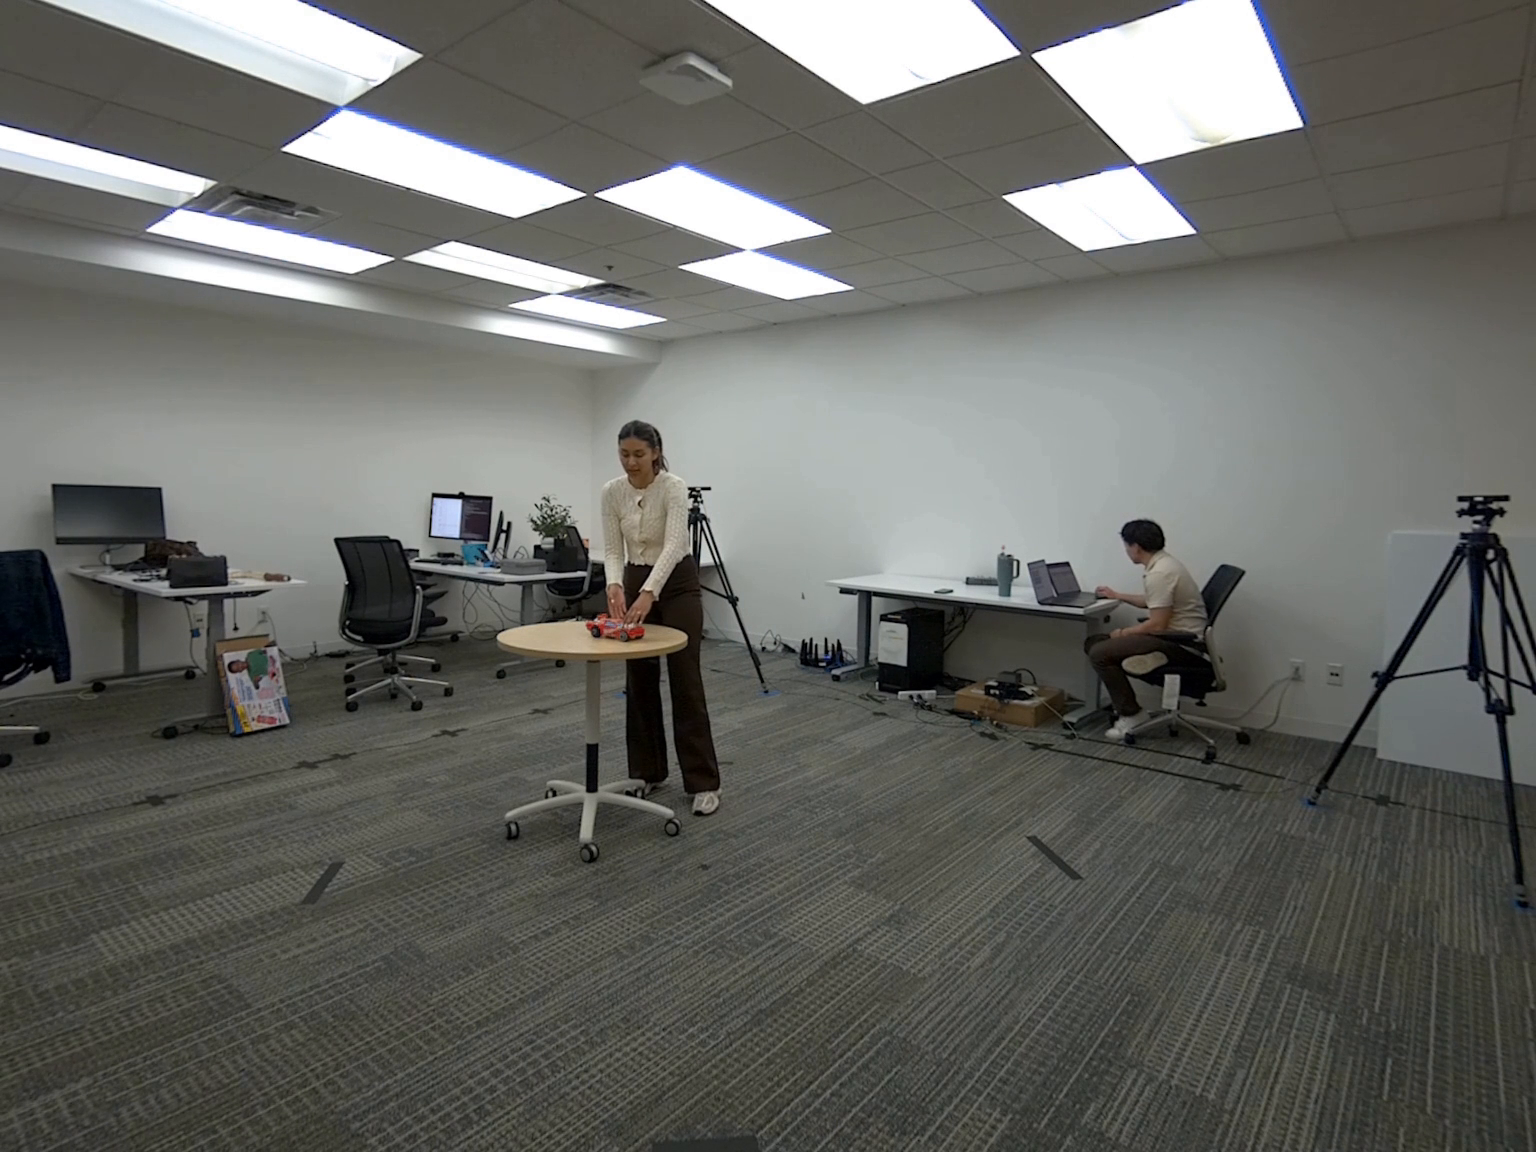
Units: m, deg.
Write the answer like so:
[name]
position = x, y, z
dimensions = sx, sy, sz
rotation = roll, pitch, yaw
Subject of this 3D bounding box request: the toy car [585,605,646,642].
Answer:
[toy car]
position = -0.642, 0.215, 3.430
dimensions = 0.263, 0.082, 0.127
rotation = 16, 14, 29
